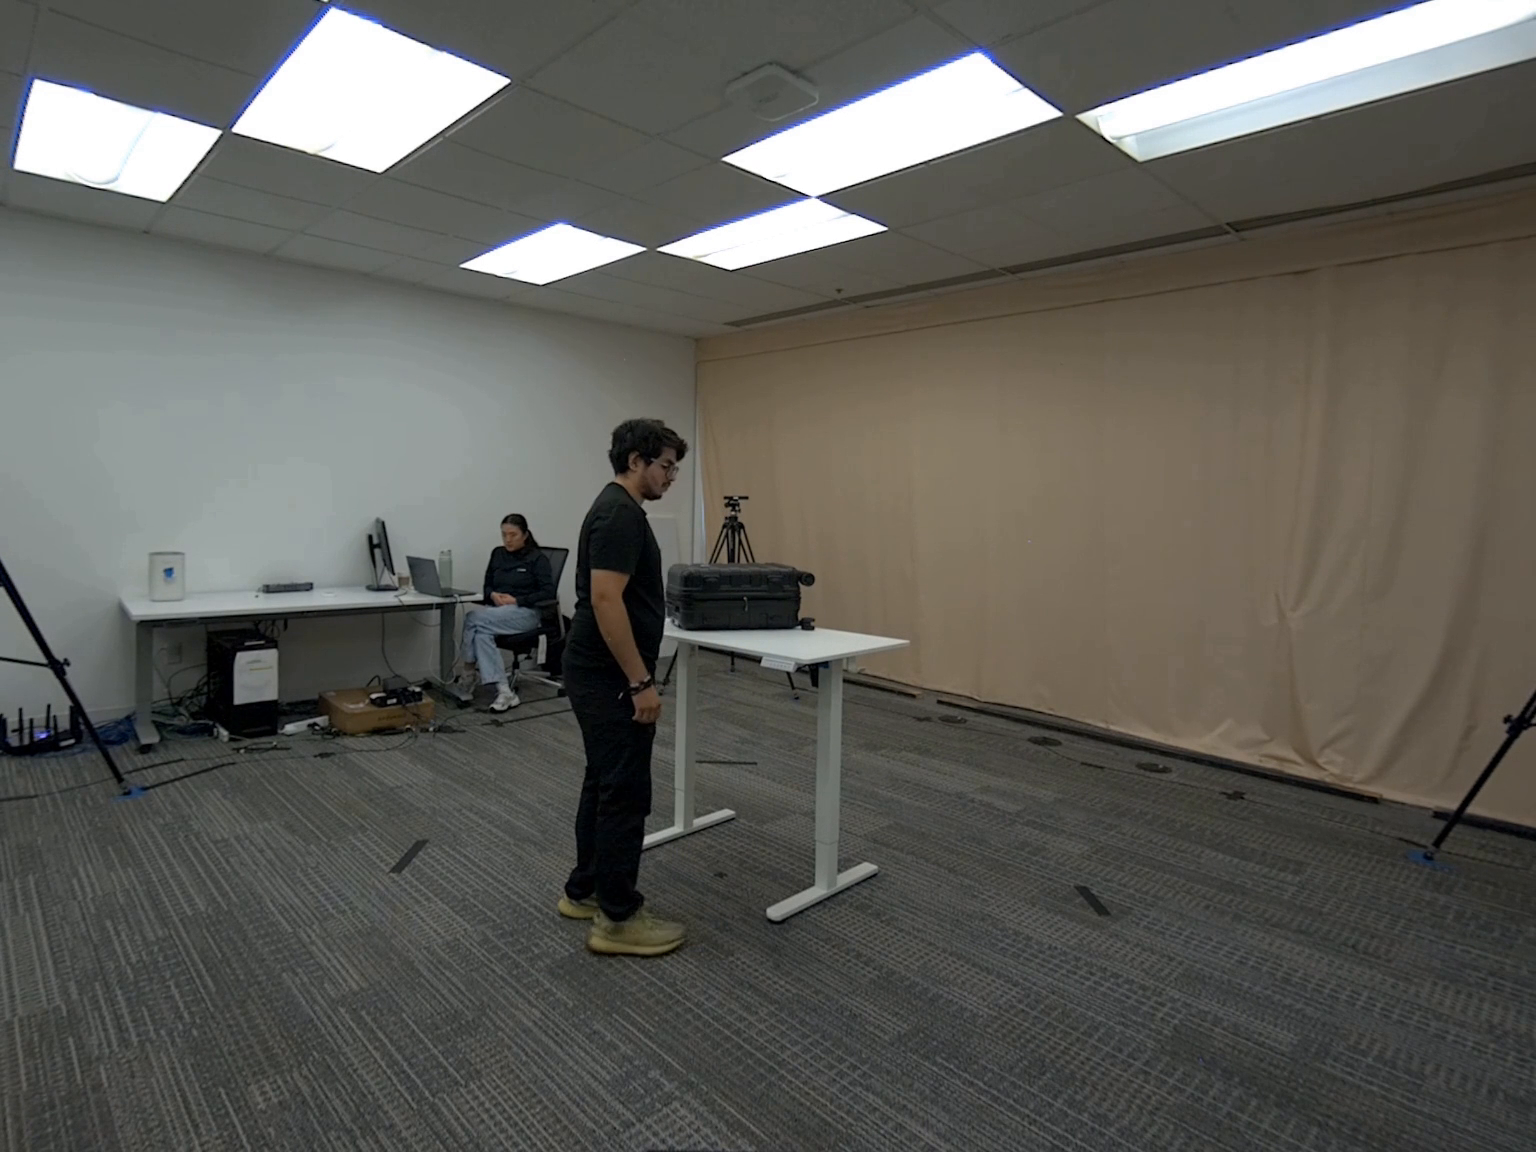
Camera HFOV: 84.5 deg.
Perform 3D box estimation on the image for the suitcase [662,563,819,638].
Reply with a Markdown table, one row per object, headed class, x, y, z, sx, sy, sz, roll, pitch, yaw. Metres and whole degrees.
| class | x | y | z | sx | sy | sz | roll | pitch | yaw |
| --- | --- | --- | --- | --- | --- | --- | --- | --- | --- |
| suitcase | -0.129 | 0.084 | 3.381 | 0.542 | 0.248 | 0.381 | 0 | 4 | -17 |
